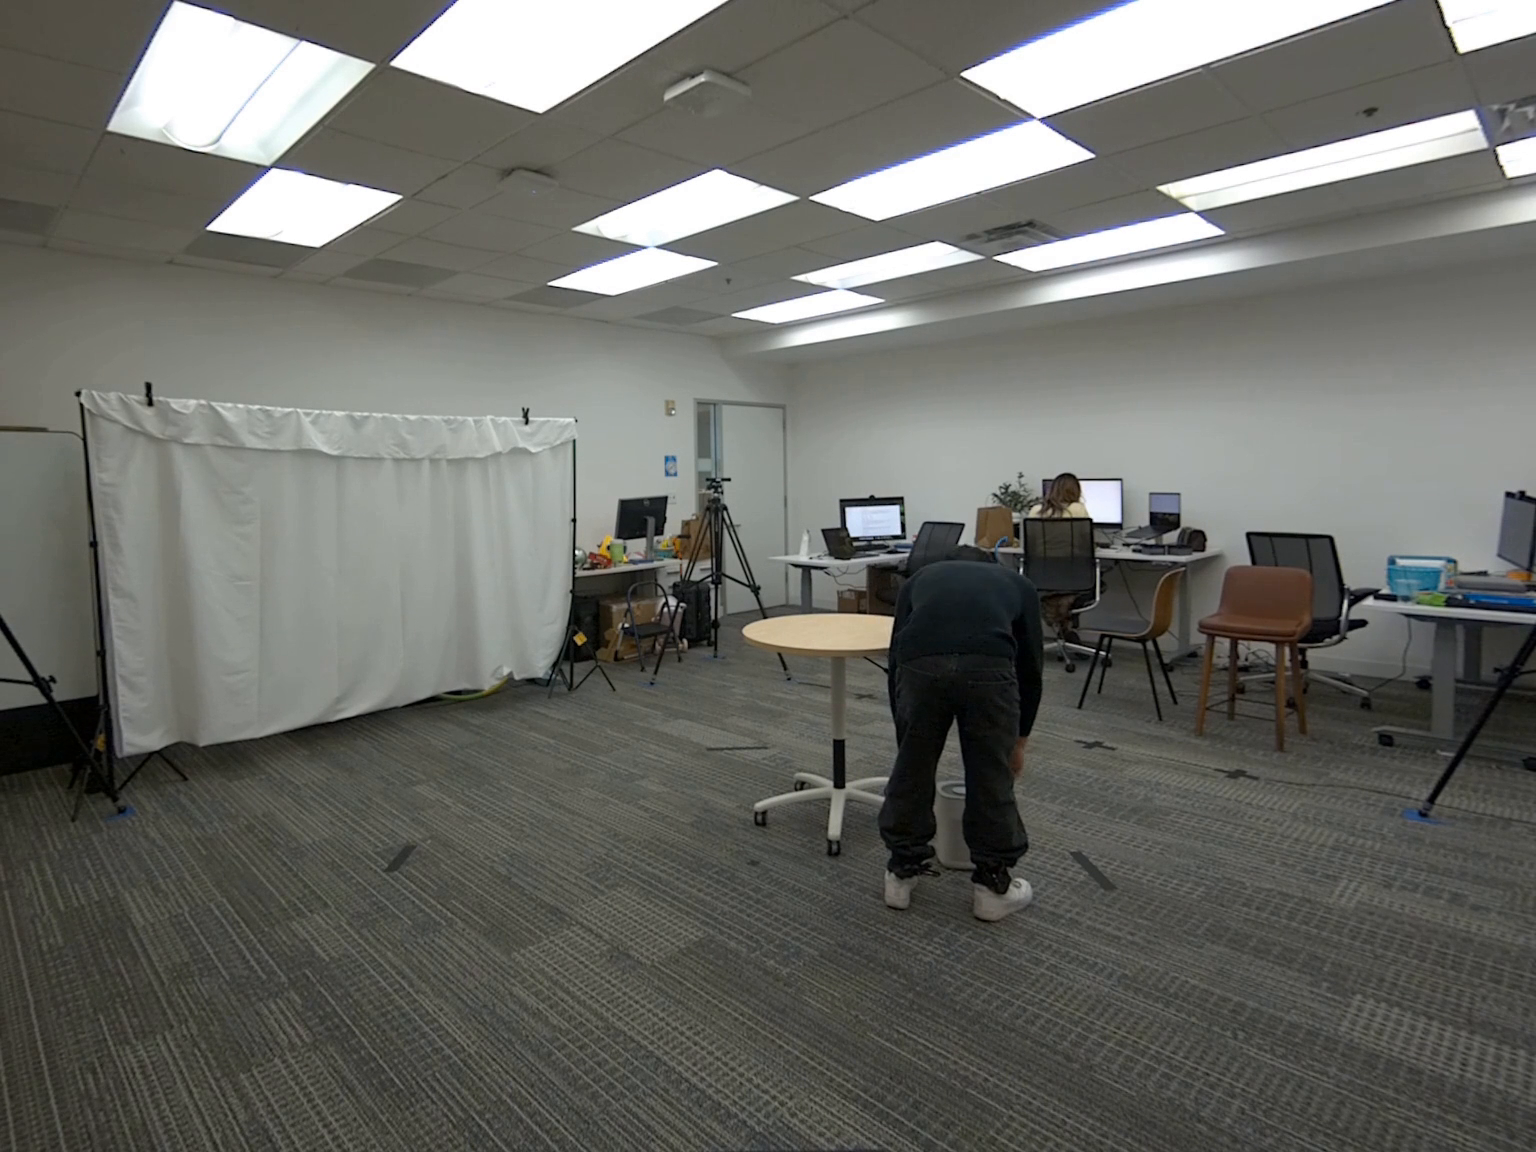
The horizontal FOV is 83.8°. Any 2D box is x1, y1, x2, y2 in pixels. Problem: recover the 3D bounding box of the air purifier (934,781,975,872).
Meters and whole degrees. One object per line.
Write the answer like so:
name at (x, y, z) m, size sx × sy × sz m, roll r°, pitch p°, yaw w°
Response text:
air purifier at (0.698, 0.900, 3.082) m, size 0.172 × 0.264 × 0.171 m, roll -1°, pitch 5°, yaw 4°
